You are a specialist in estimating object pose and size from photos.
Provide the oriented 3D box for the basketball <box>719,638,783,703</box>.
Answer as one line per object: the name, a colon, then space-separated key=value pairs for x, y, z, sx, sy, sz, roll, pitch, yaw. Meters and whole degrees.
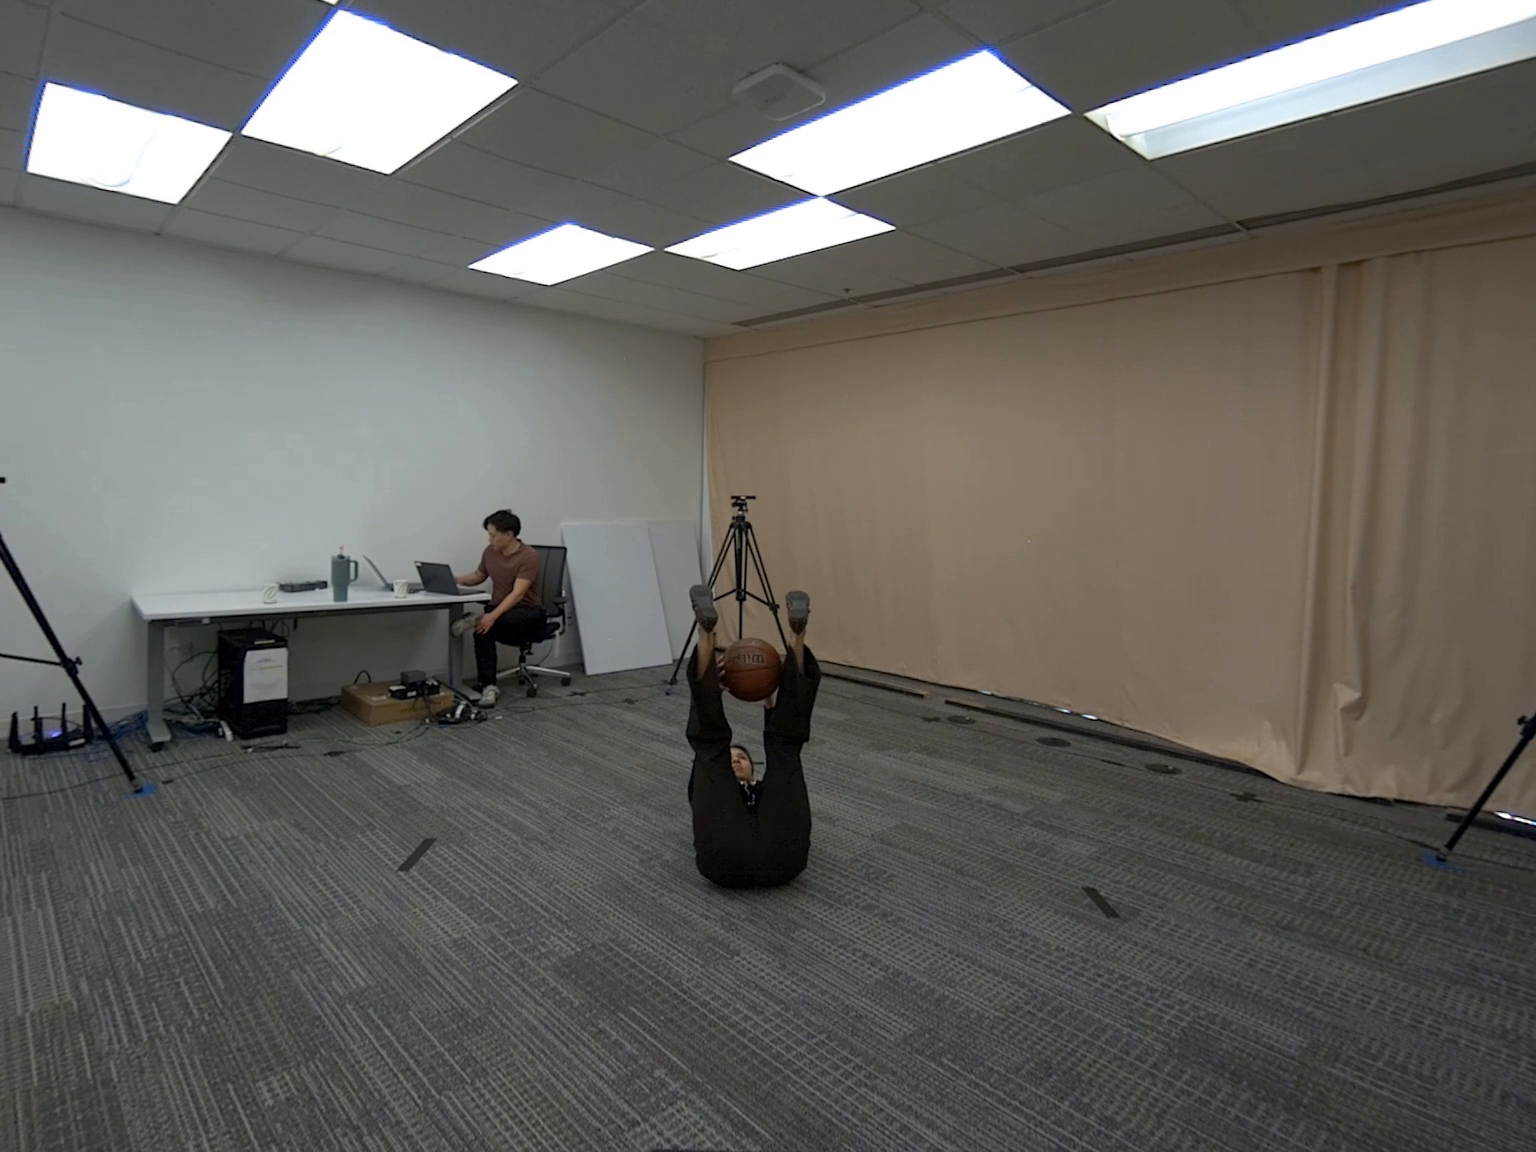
basketball: x=-0.057 y=0.354 z=3.124 sx=0.236 sy=0.235 sz=0.237 roll=1 pitch=4 yaw=-1
